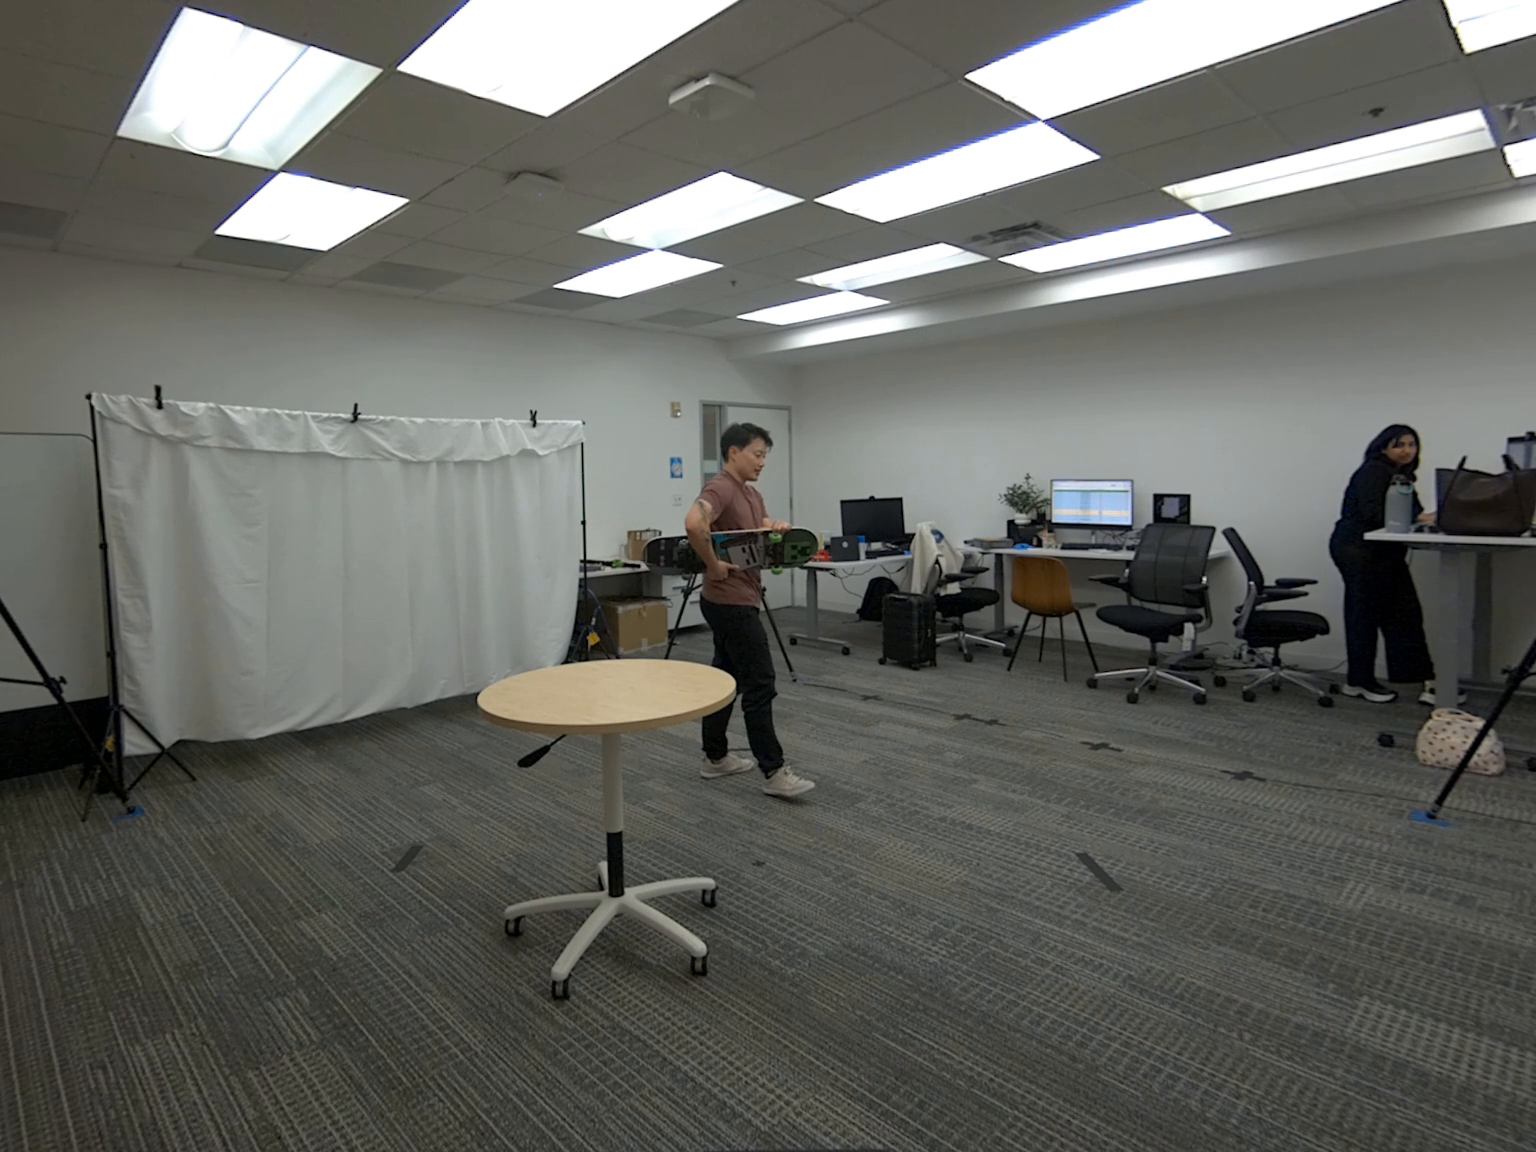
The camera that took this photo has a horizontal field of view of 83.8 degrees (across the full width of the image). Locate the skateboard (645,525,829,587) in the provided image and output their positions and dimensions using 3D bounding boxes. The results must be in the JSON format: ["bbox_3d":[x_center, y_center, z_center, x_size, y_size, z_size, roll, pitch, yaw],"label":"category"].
[{"bbox_3d":[-0.136,-0.091,3.769,0.786,0.189,0.113,-4,24,0],"label":"skateboard"}]
